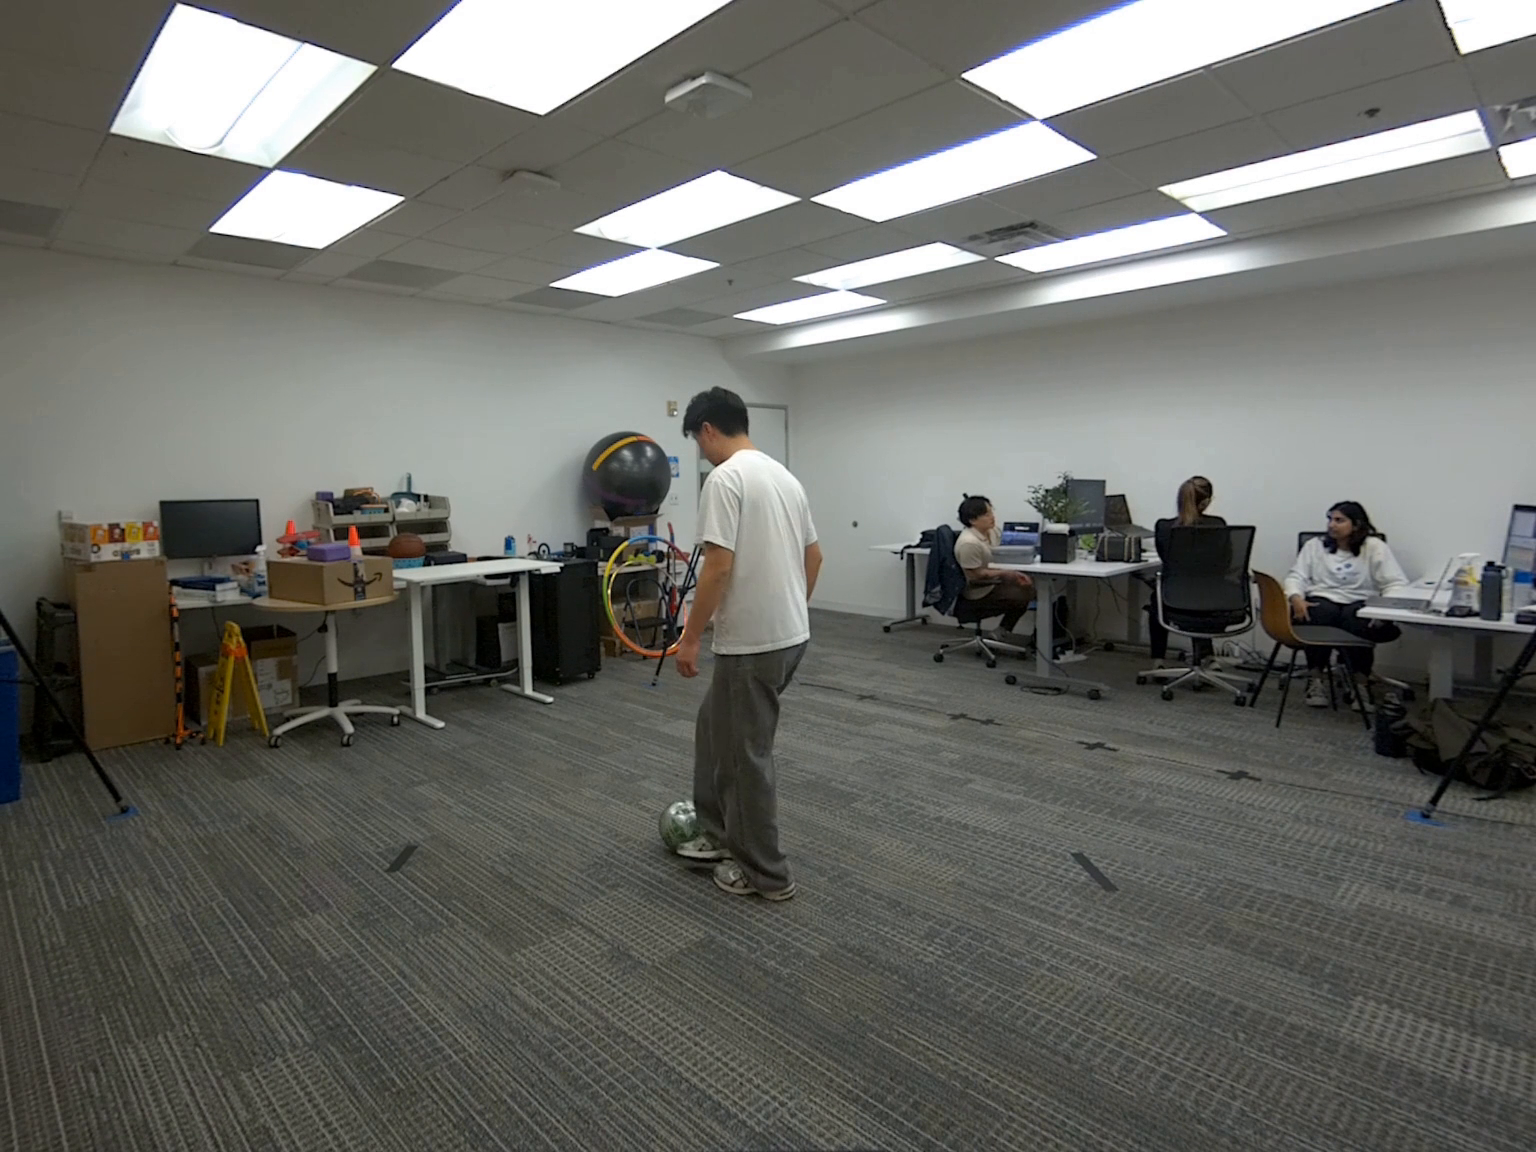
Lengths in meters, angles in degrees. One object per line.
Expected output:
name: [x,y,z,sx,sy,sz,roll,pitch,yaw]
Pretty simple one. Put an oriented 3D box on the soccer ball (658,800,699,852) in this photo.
soccer ball: [-0.317,0.945,3.229,0.187,0.187,0.188,-1,5,-2]
